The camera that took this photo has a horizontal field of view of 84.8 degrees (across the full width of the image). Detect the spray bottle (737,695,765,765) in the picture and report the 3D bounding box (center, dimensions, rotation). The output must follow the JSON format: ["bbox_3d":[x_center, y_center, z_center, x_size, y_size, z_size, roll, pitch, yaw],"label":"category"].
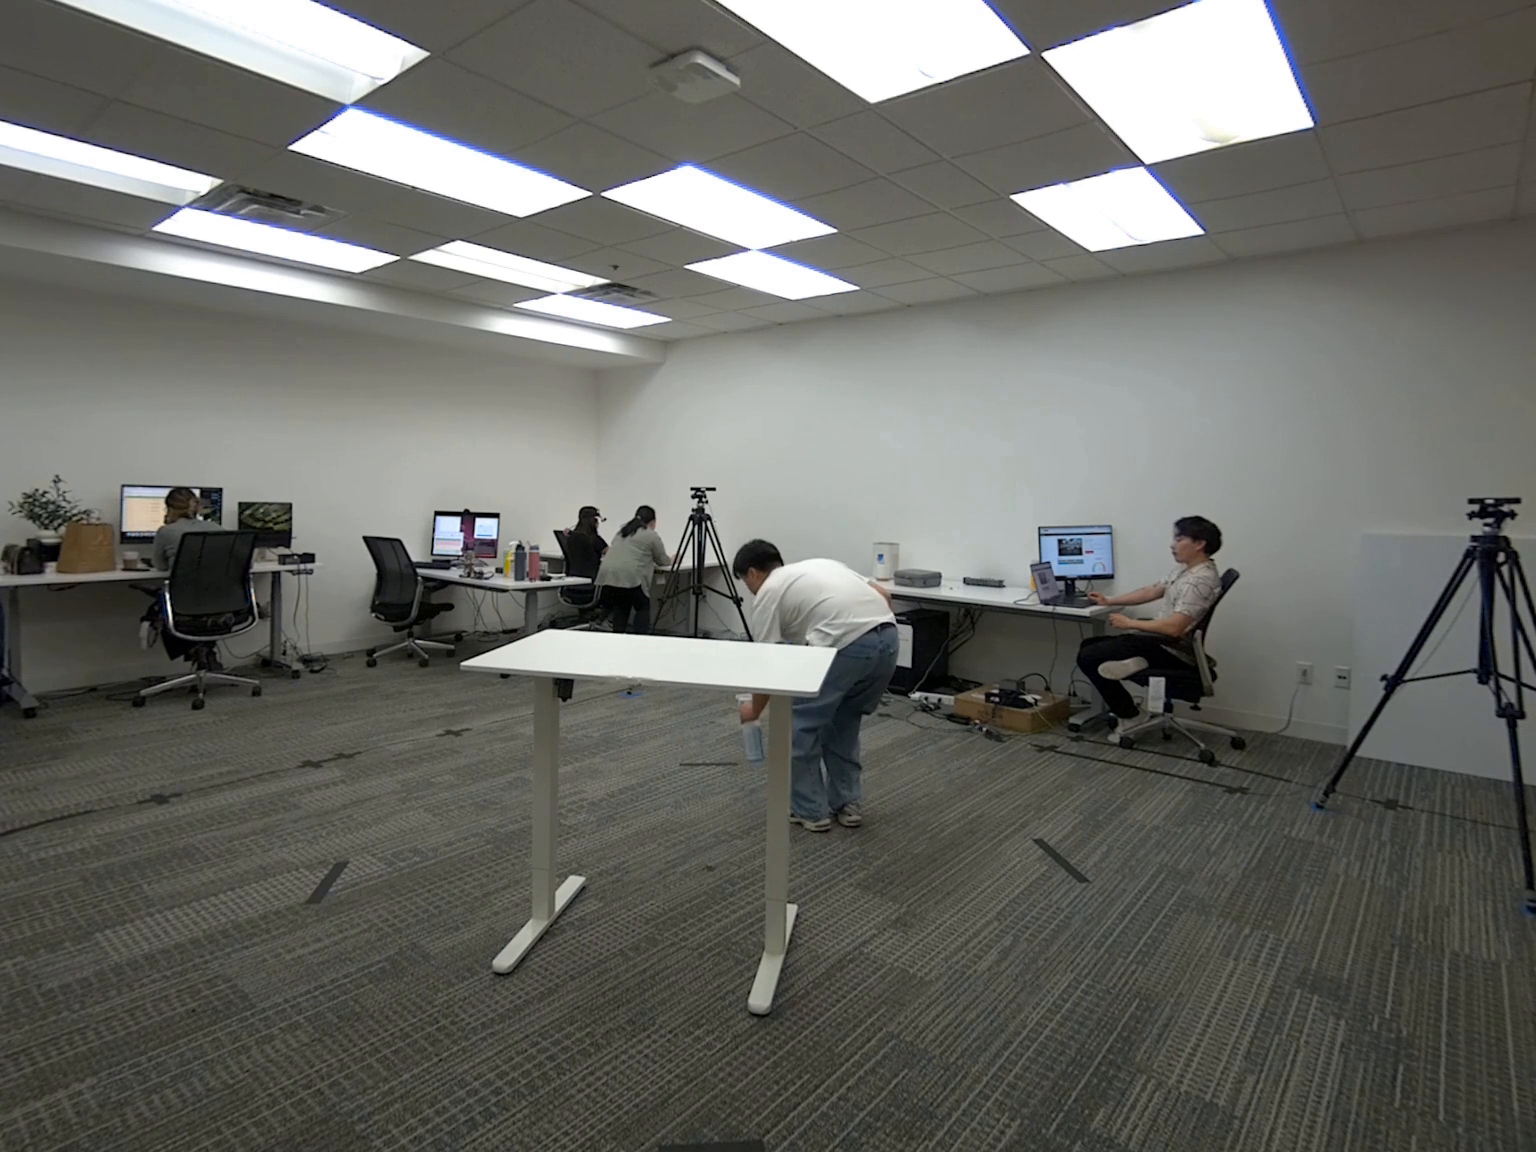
[{"bbox_3d":[-0.078,0.706,3.801,0.092,0.299,0.084,-14,-6,38],"label":"spray bottle"}]
